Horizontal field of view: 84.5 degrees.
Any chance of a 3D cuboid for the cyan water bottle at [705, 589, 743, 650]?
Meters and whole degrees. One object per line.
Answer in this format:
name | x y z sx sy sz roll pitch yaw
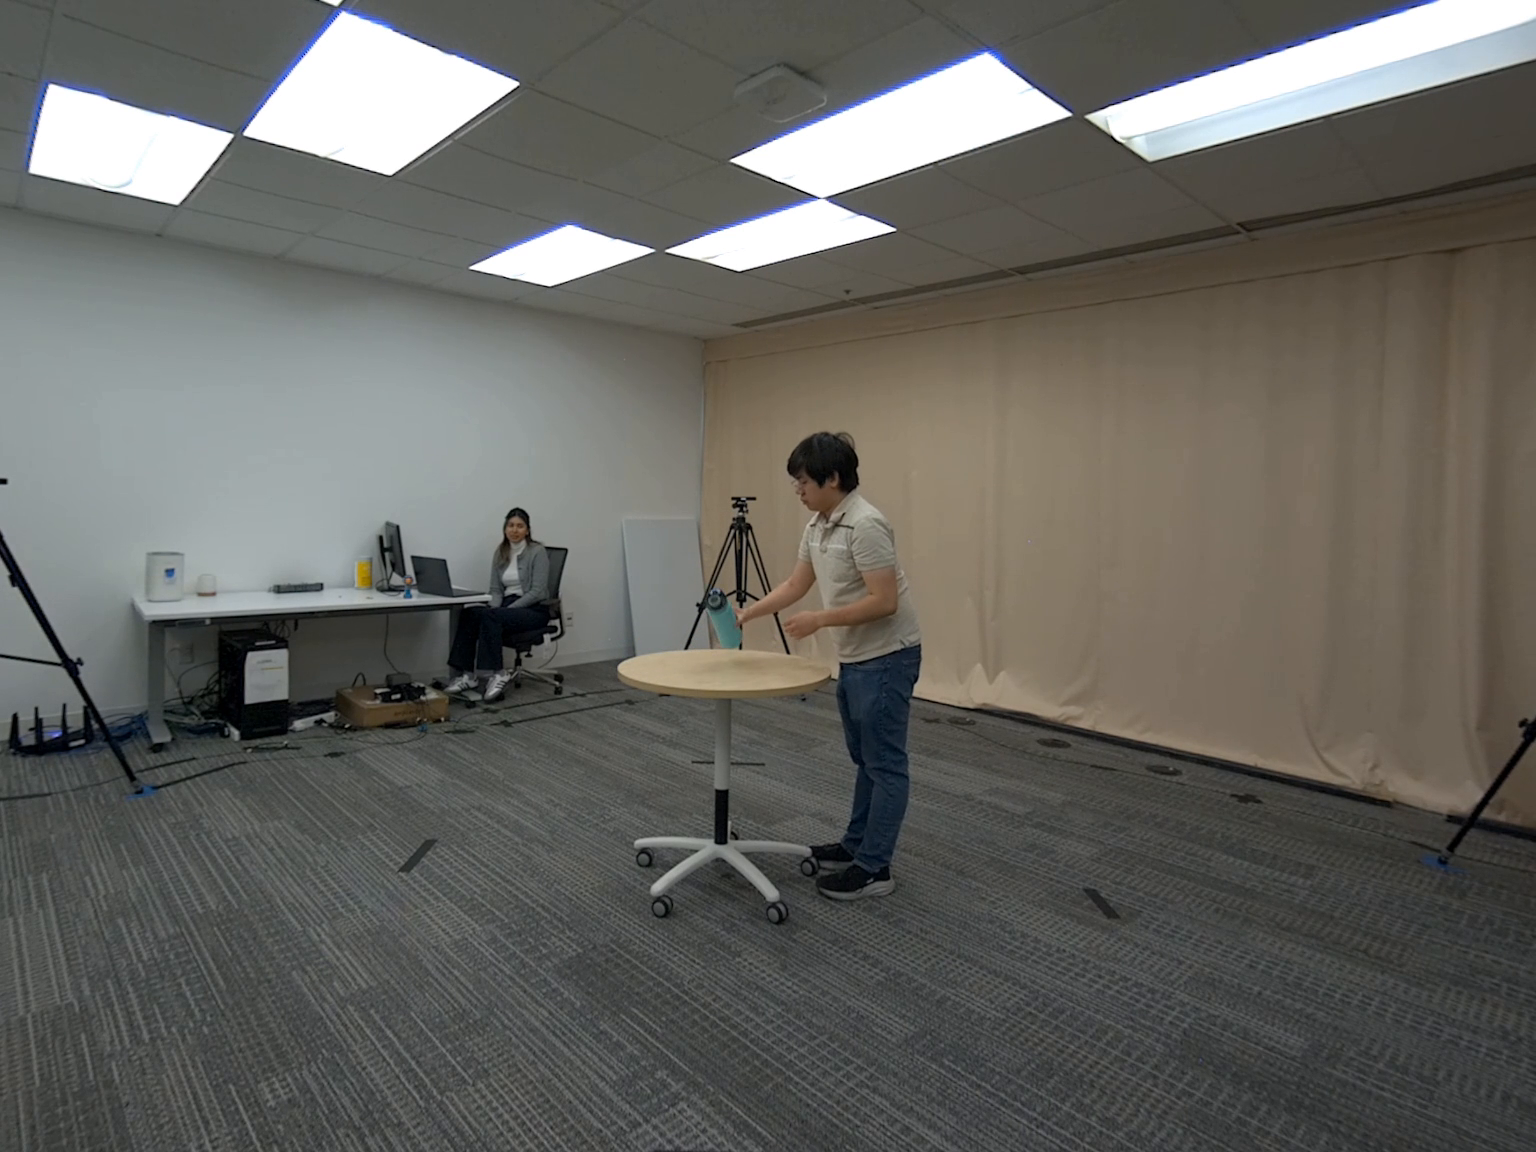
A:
cyan water bottle | -0.163 0.170 3.040 0.093 0.093 0.275 3 -35 16
